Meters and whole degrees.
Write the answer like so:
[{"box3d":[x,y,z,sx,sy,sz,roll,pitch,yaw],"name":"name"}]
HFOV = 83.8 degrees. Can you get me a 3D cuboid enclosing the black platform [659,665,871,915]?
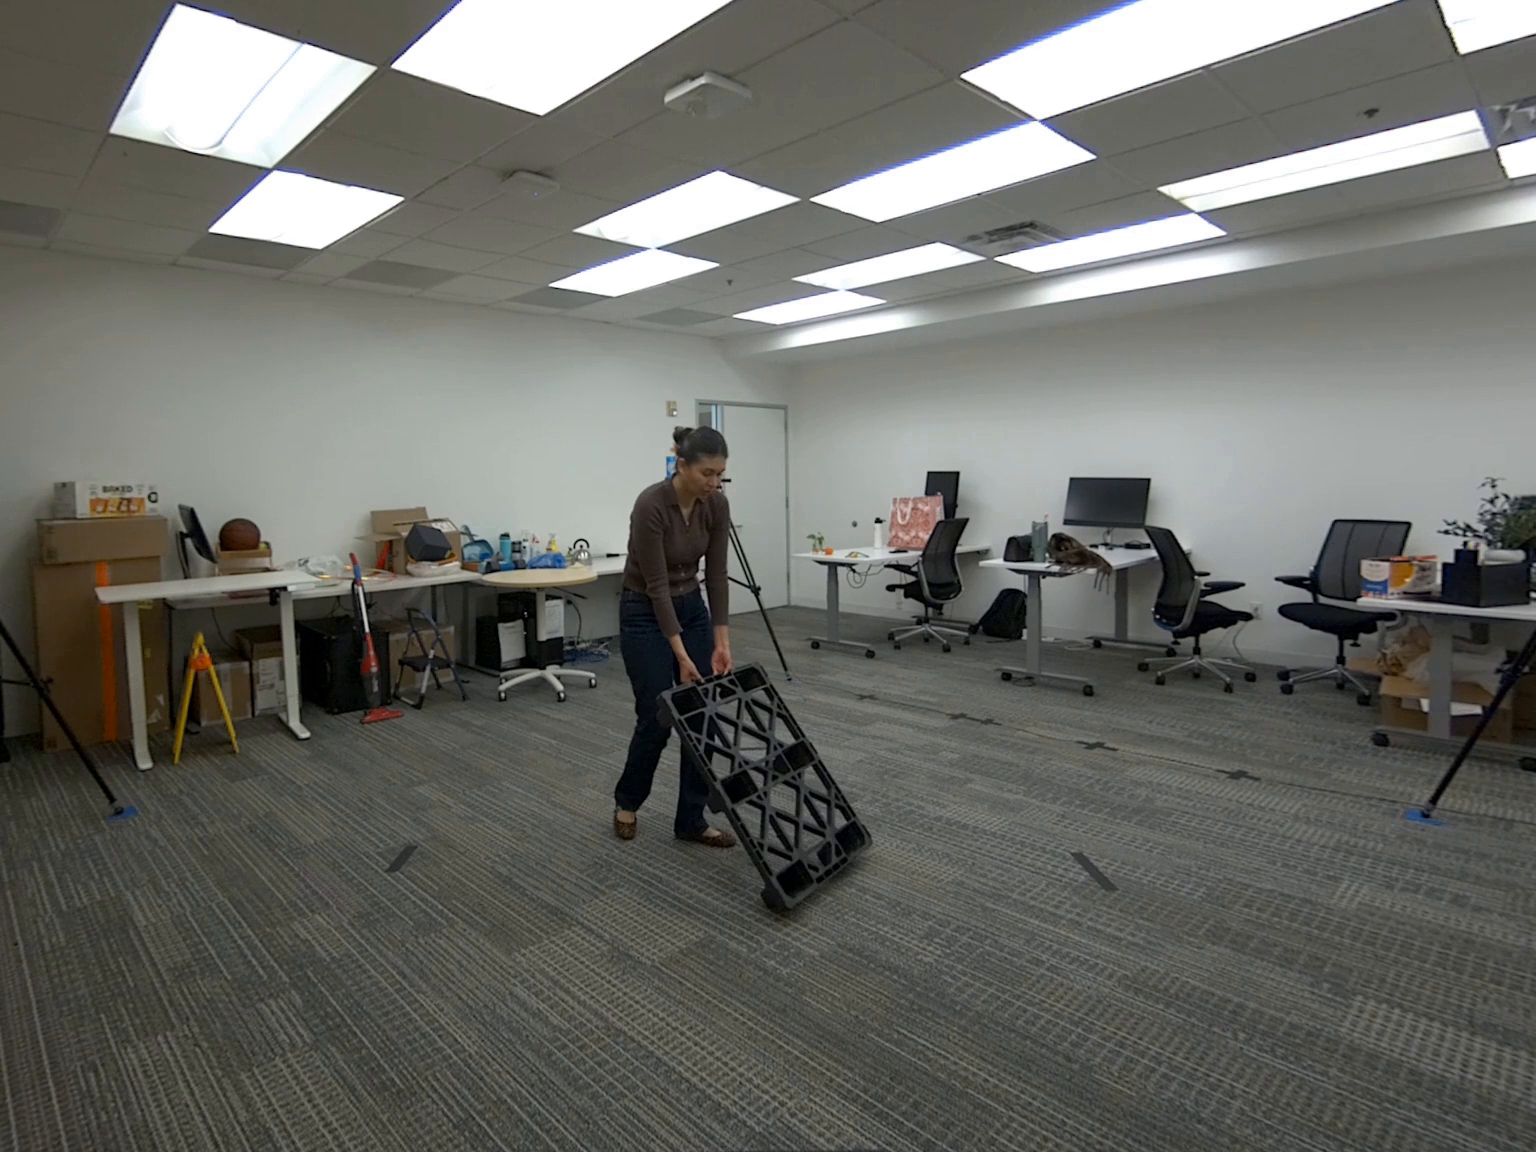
[{"box3d":[-0.026,0.721,3.055,0.143,0.825,0.590,-44,-21,30],"name":"black platform"}]
